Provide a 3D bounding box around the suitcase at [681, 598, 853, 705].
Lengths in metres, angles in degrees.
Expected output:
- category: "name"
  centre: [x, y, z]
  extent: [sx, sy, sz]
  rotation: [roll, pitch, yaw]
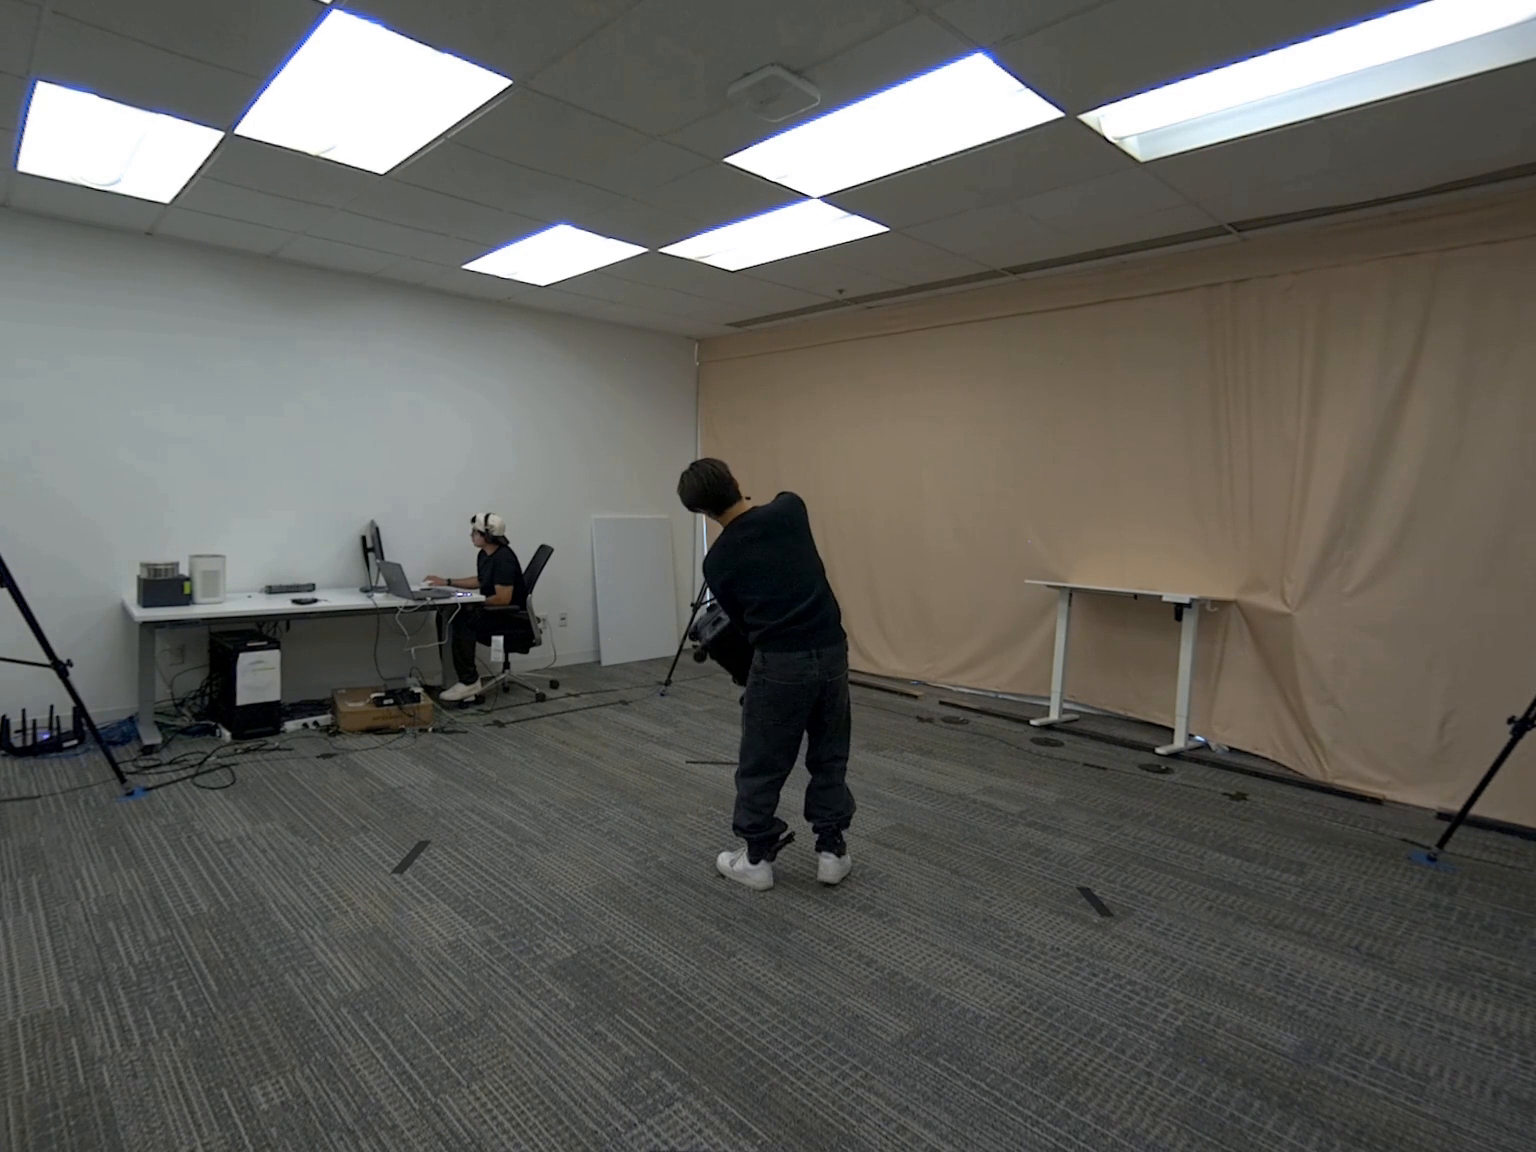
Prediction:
- category: "suitcase"
  centre: [-0.016, 0.201, 3.433]
  extent: [0.368, 0.549, 0.253]
  rotation: [45, 7, -21]
